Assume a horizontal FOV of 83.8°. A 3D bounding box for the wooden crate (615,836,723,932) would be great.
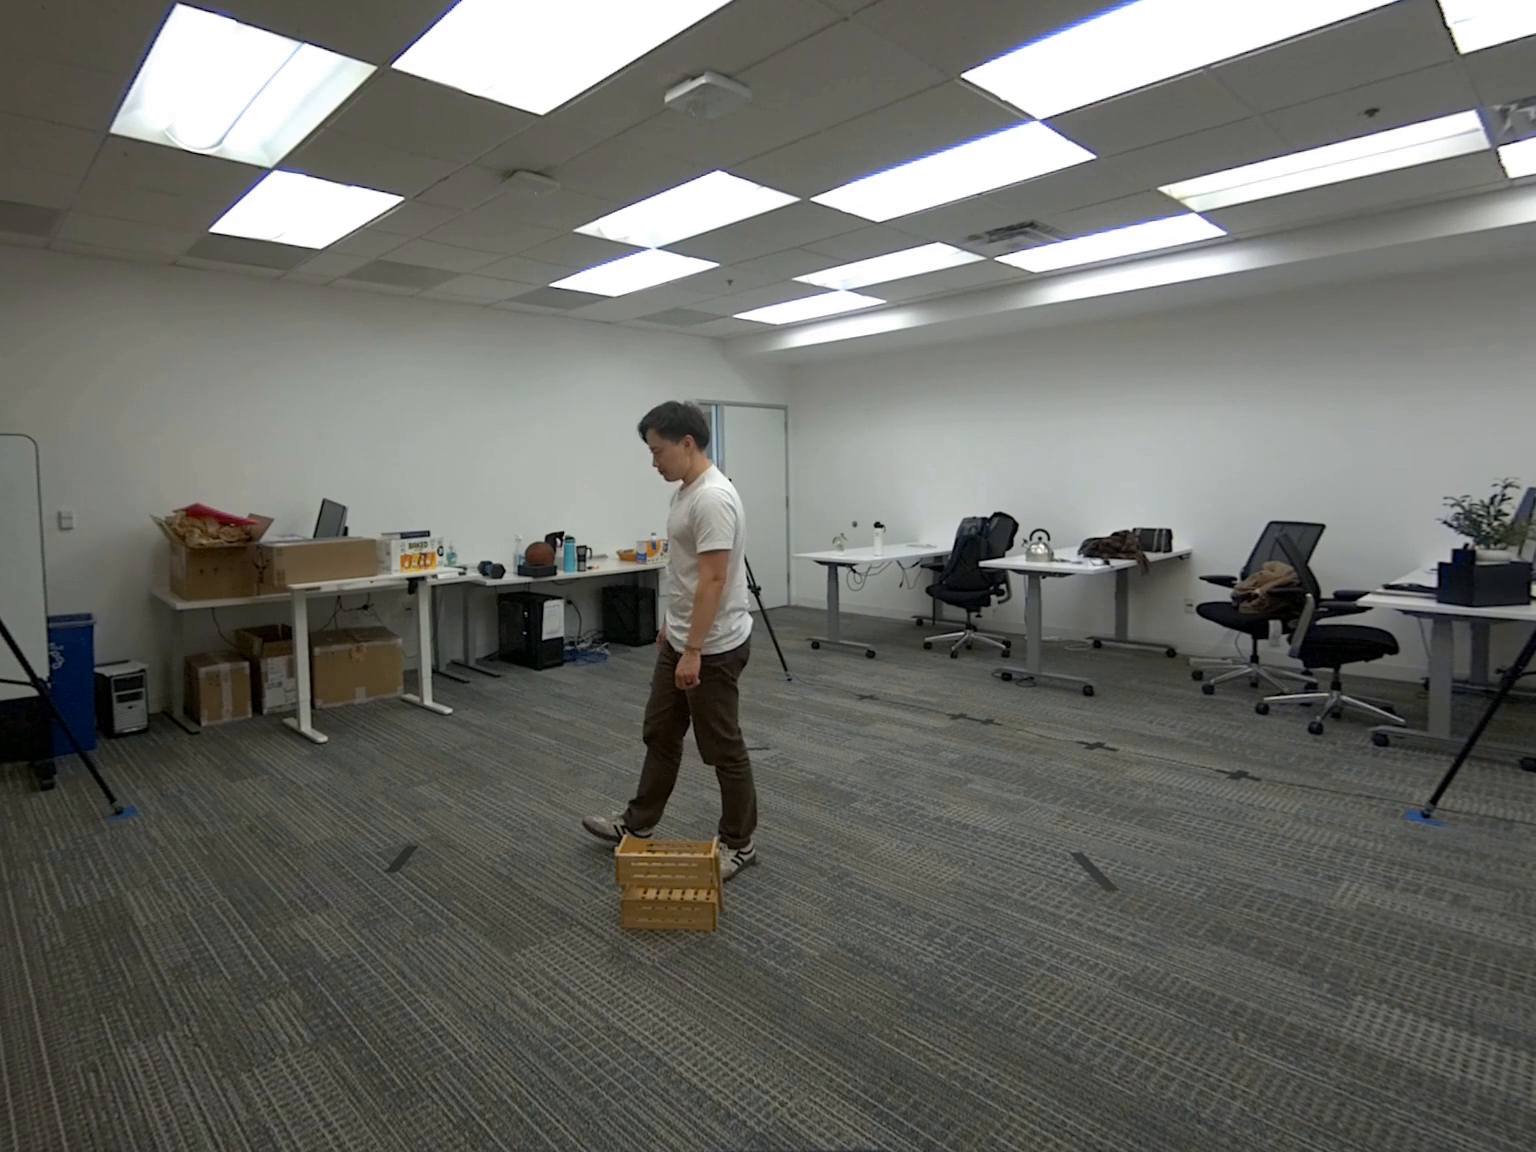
[{"bbox_3d":[-0.310,0.968,2.747,0.326,0.271,0.303,-1,8,4],"label":"wooden crate"}]
